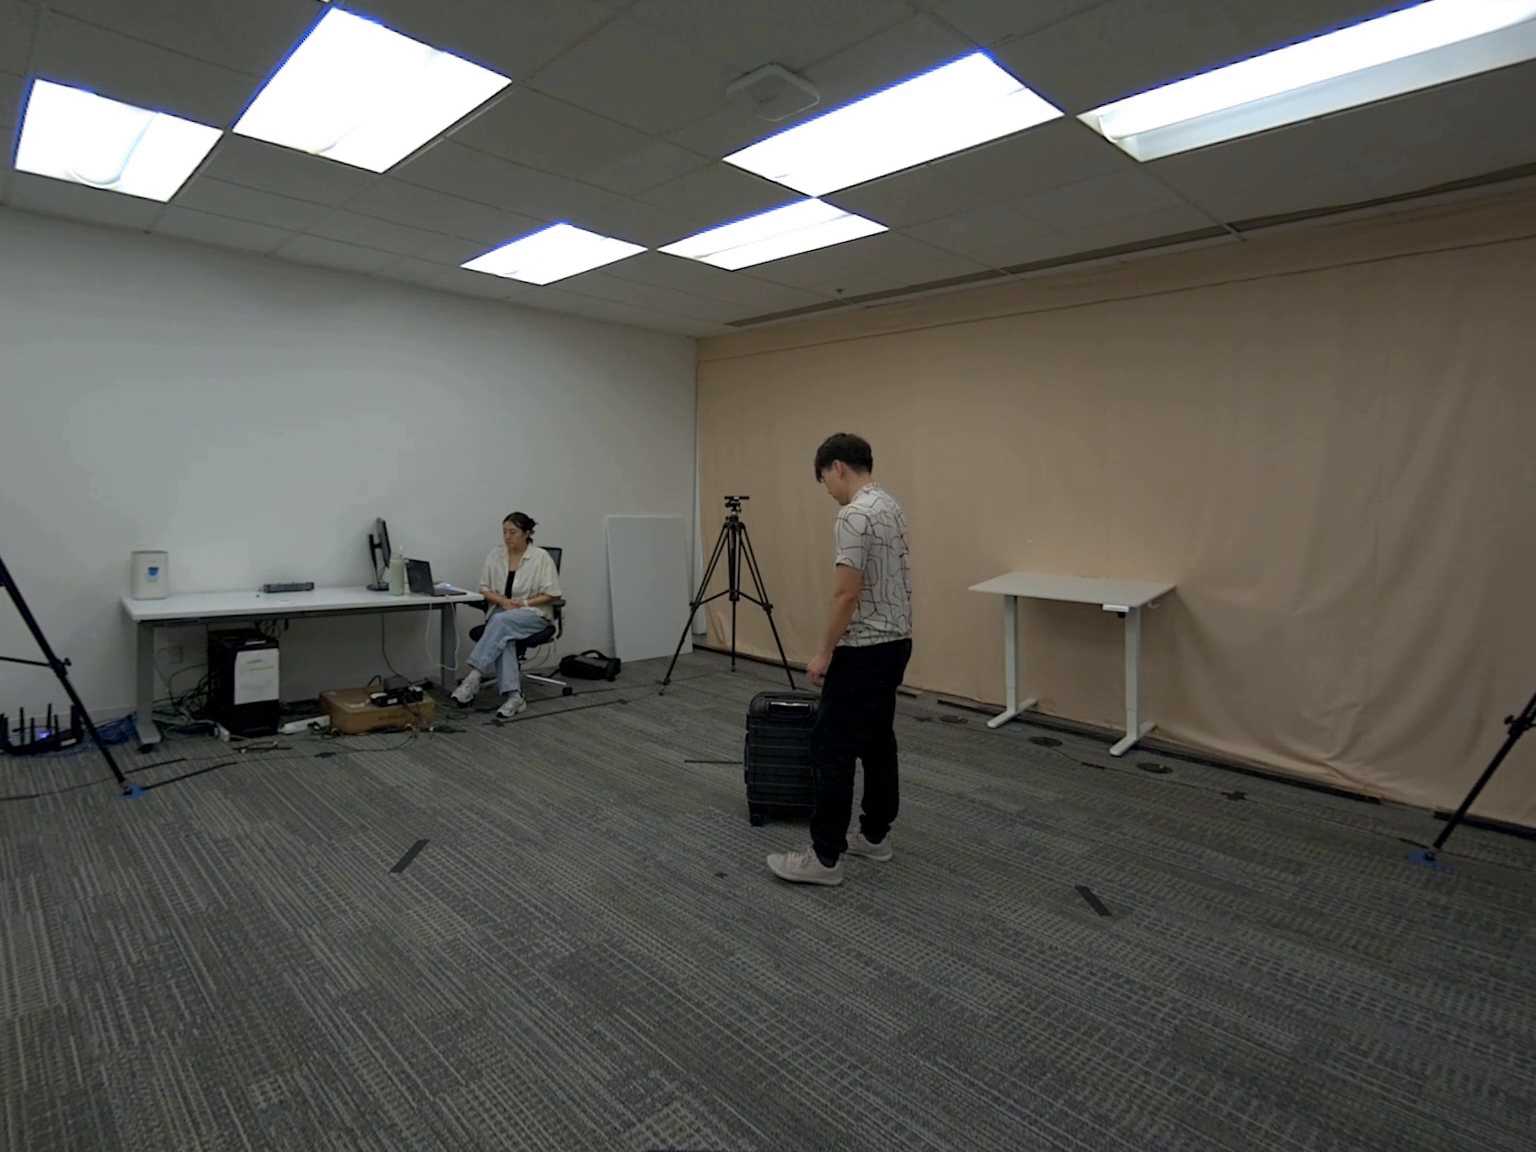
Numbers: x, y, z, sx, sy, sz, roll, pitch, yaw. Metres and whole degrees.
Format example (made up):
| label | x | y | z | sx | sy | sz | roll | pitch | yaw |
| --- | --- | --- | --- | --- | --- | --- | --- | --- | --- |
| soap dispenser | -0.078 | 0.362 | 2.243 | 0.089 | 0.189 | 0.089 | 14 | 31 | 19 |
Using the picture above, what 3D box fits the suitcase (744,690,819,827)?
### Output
| label | x | y | z | sx | sy | sz | roll | pitch | yaw |
| --- | --- | --- | --- | --- | --- | --- | --- | --- | --- |
| suitcase | 0.077 | 0.784 | 3.682 | 0.377 | 0.548 | 0.248 | 1 | 3 | 4 |
